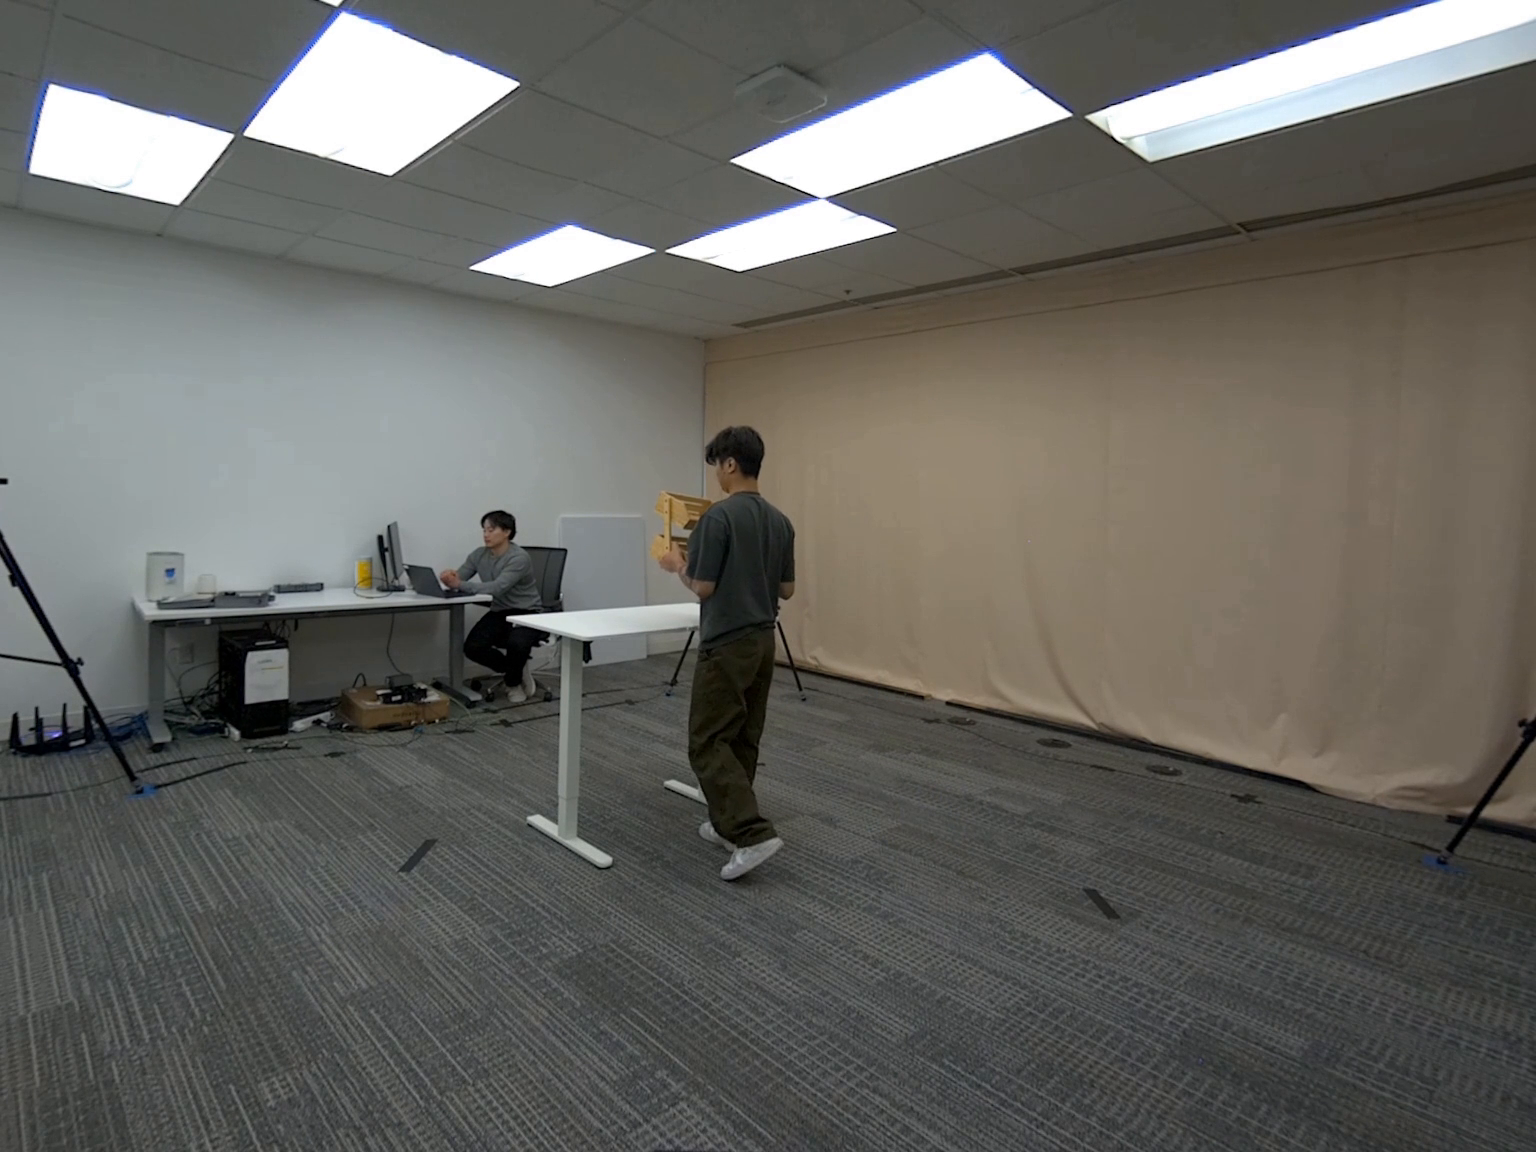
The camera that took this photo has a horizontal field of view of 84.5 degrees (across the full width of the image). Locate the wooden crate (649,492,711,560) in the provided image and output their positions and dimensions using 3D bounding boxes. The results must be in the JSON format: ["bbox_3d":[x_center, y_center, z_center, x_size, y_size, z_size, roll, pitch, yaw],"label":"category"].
[{"bbox_3d":[-0.284,-0.163,3.469,0.311,0.272,0.316,29,14,38],"label":"wooden crate"}]
